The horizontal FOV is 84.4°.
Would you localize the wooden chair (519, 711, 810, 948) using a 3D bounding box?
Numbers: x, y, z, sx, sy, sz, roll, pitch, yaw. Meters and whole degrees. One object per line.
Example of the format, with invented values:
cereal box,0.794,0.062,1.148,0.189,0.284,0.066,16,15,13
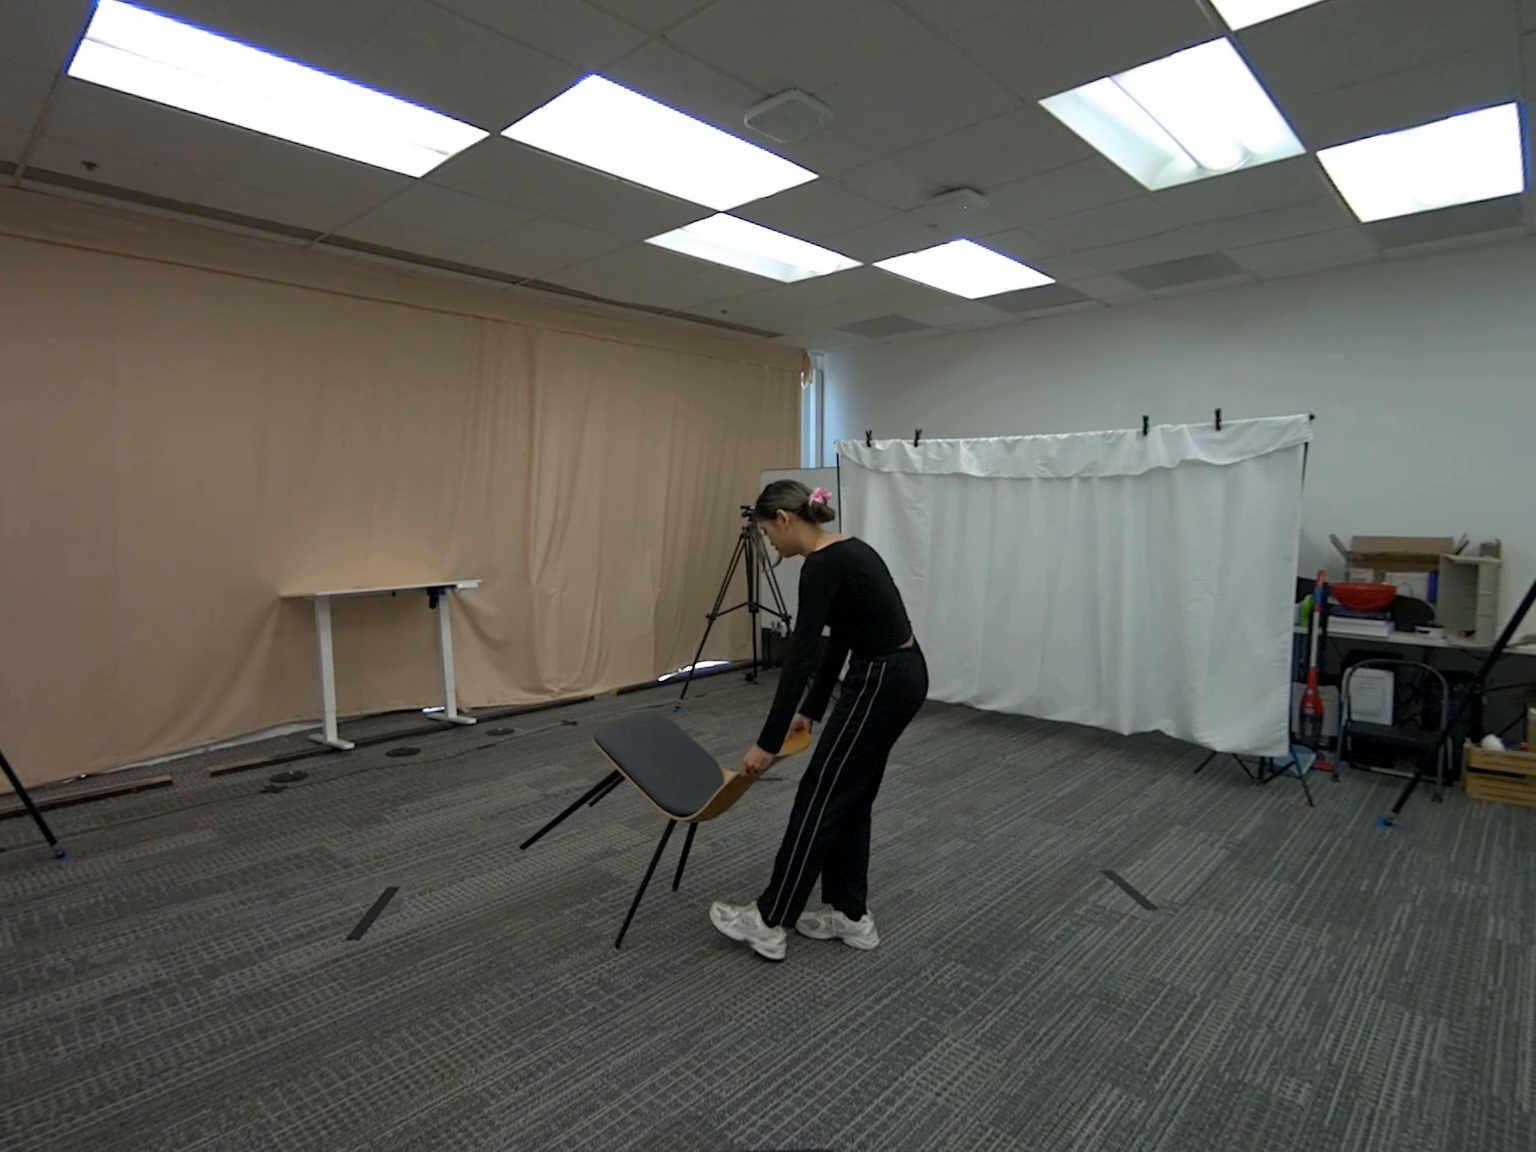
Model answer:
wooden chair,-0.332,0.678,2.804,0.533,0.880,0.468,44,17,14
